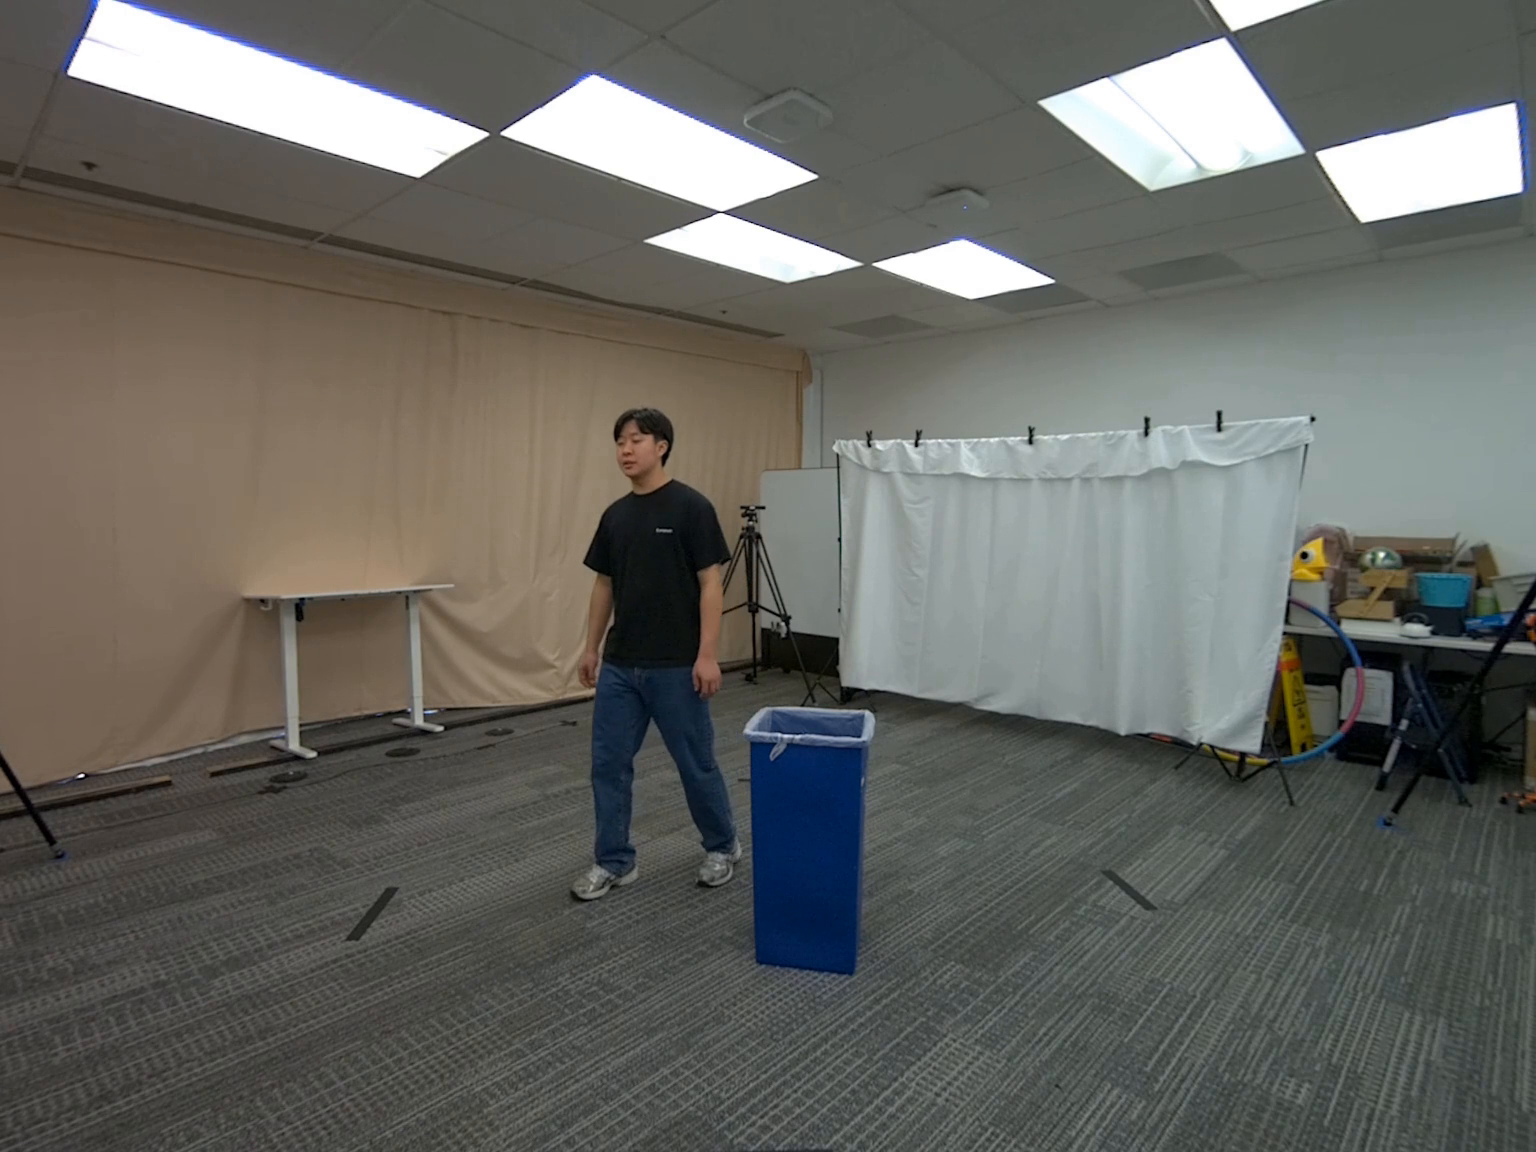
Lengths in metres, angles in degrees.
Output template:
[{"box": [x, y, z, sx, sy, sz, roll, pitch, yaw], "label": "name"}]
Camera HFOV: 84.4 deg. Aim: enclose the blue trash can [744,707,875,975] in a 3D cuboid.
[{"box": [0.143, 0.813, 2.649, 0.383, 0.713, 0.369, 1, 2, 11], "label": "blue trash can"}]
